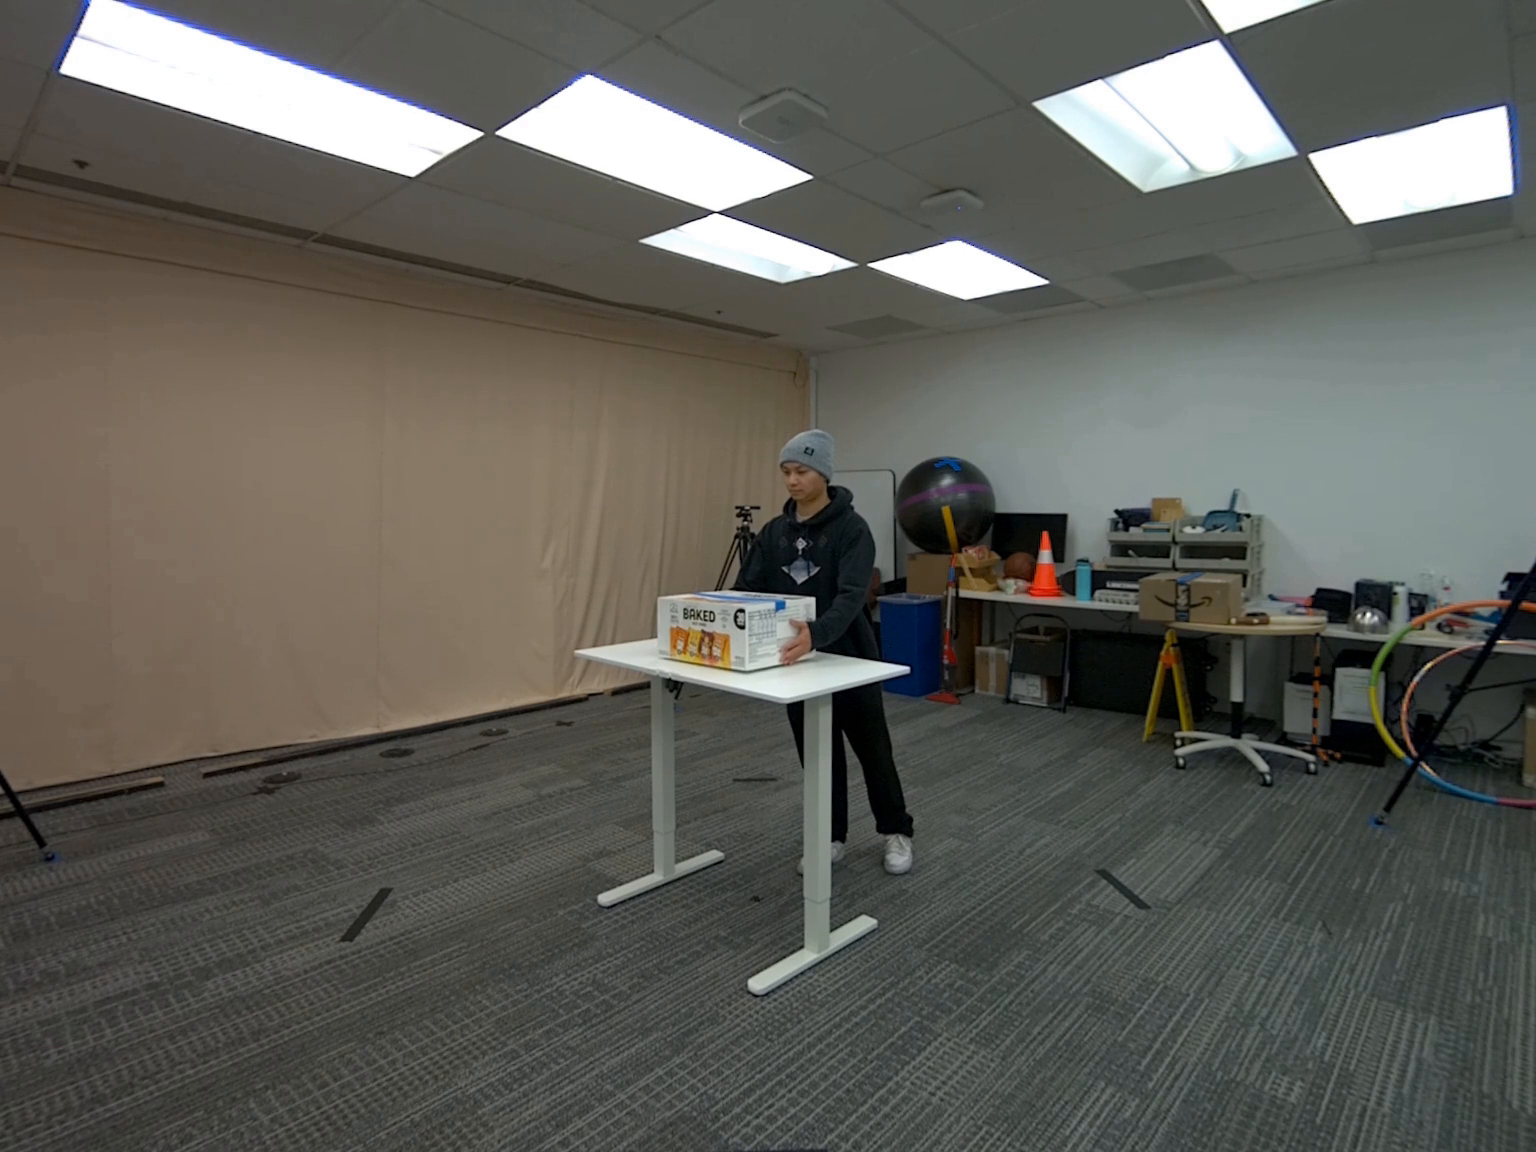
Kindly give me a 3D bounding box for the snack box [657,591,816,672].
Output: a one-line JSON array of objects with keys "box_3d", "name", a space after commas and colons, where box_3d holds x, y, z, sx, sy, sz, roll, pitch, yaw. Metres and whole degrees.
[{"box_3d": [-0.109, 0.170, 2.798, 0.418, 0.205, 0.330, 3, 5, 42], "name": "snack box"}]
